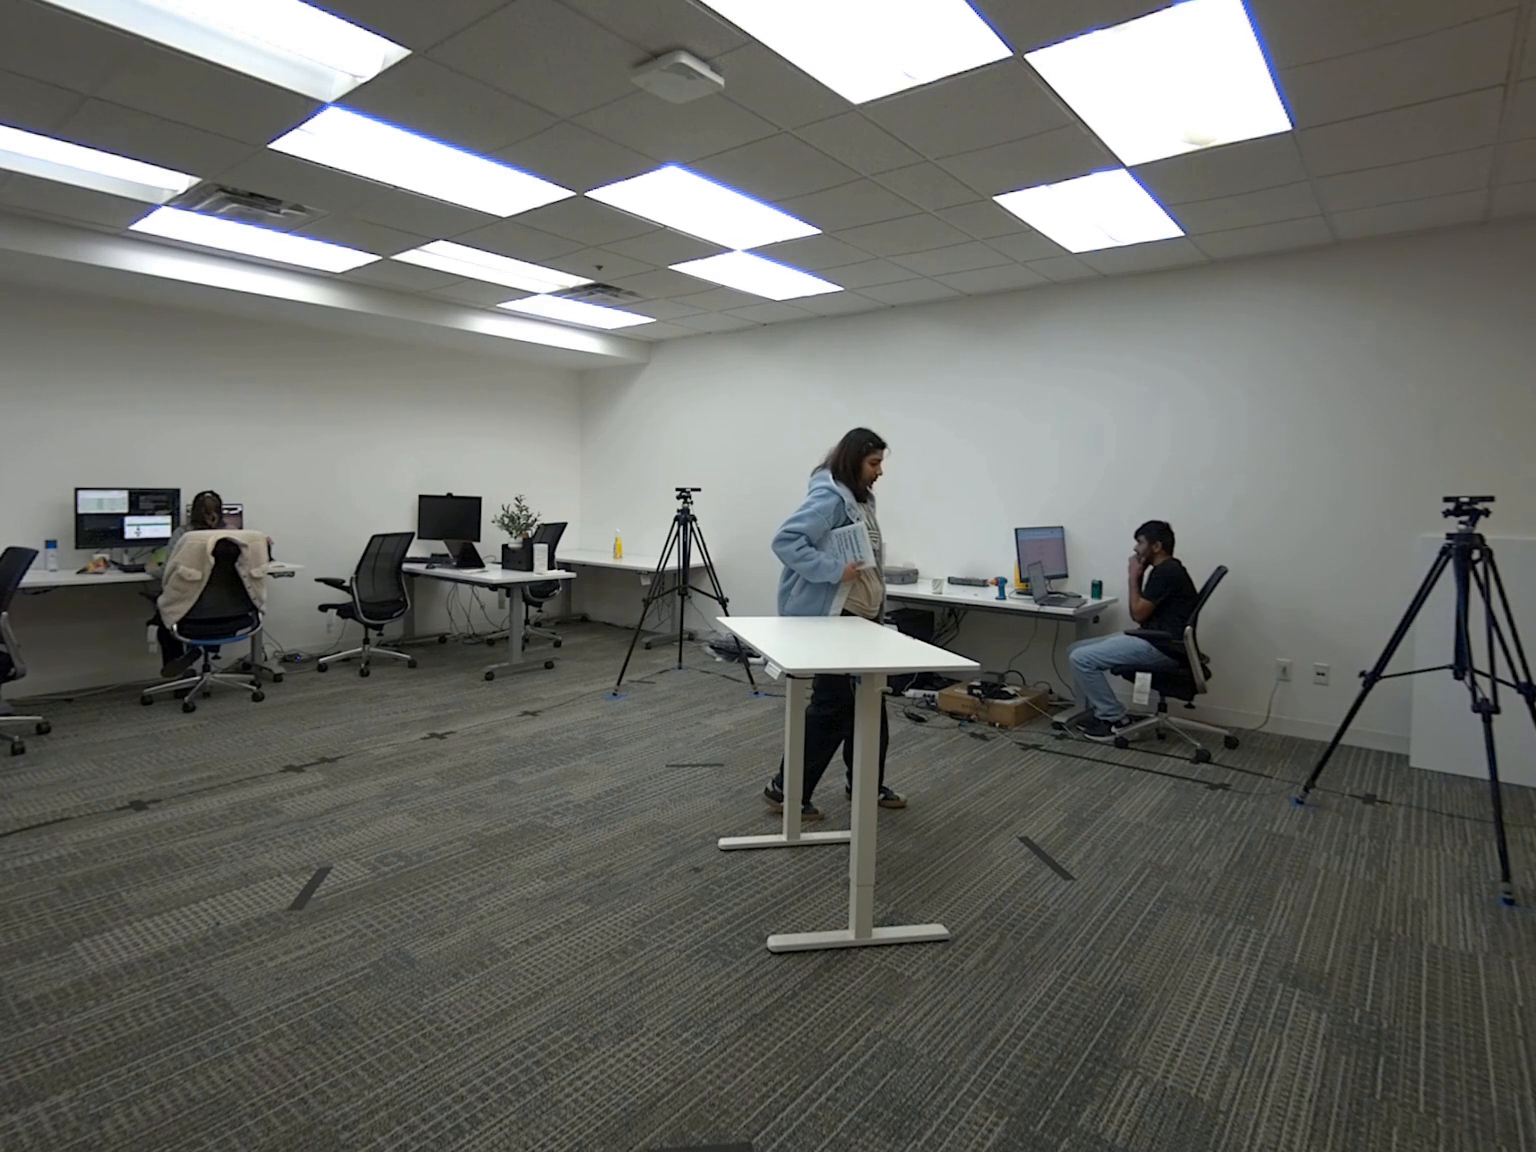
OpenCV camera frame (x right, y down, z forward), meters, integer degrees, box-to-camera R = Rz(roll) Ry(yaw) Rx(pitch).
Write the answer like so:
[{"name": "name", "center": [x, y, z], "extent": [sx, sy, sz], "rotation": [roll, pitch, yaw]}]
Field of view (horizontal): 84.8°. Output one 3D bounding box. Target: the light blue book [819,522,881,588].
[{"name": "light blue book", "center": [0.285, -0.108, 3.510], "extent": [0.261, 0.192, 0.059], "rotation": [-12, -3, 2]}]
